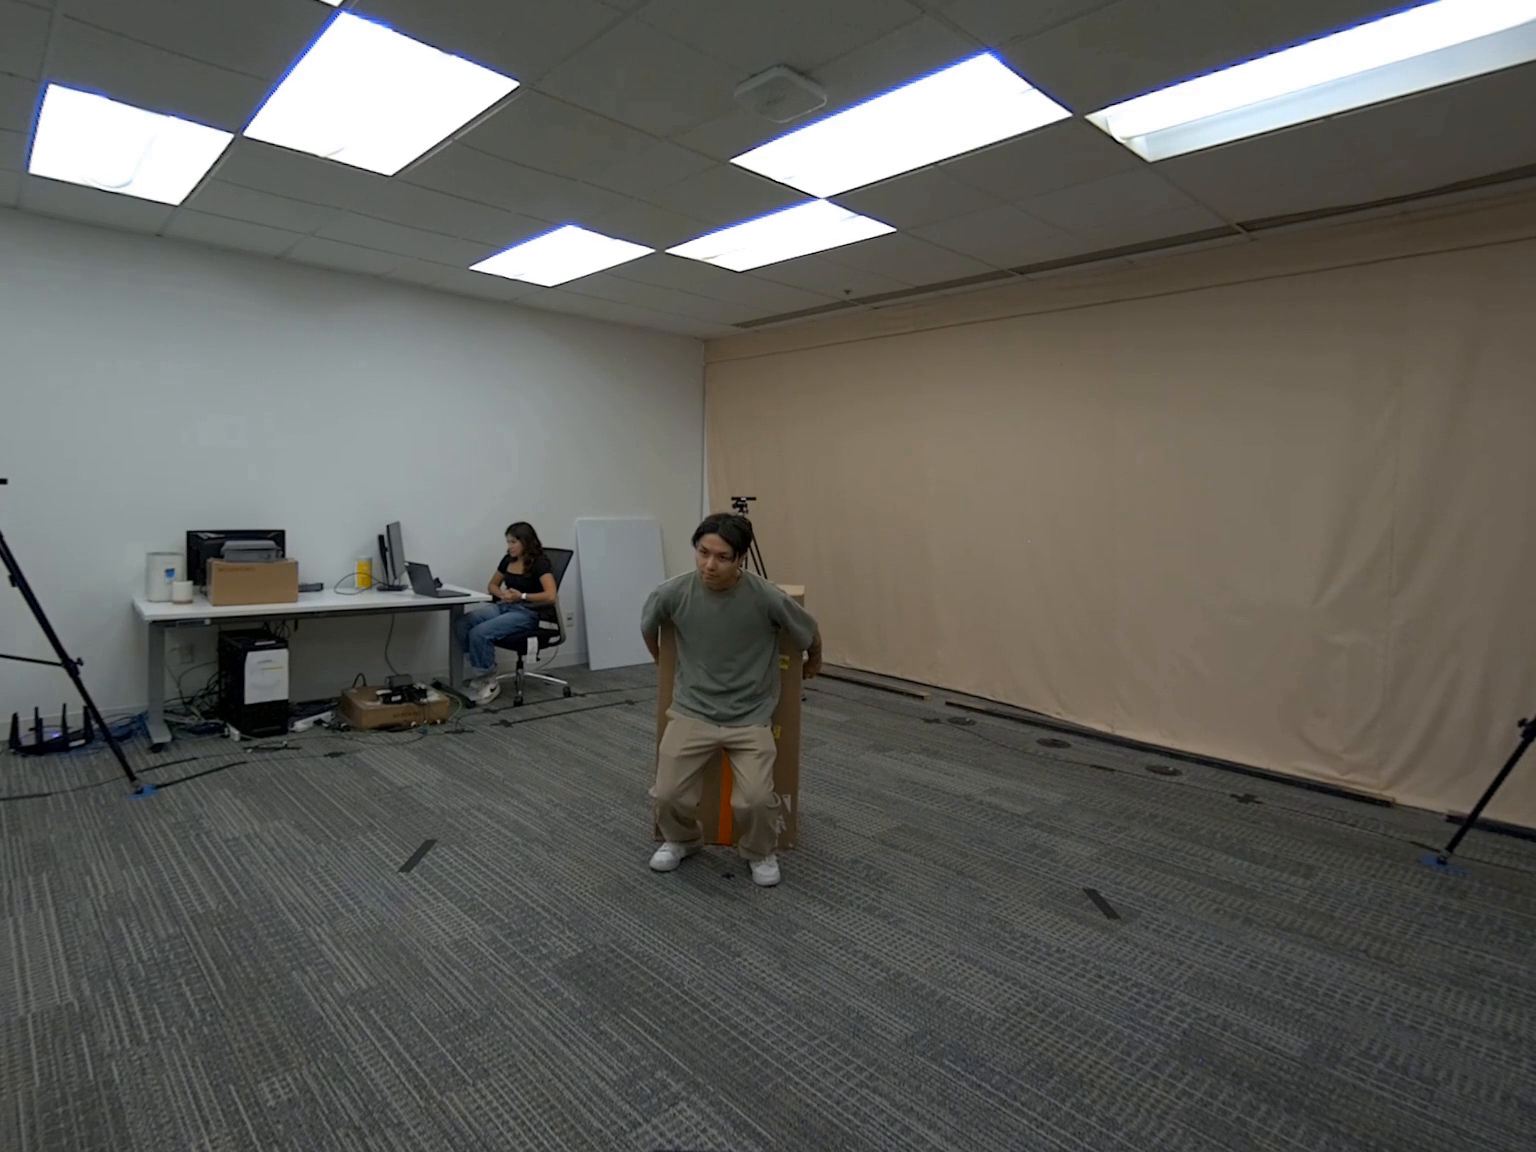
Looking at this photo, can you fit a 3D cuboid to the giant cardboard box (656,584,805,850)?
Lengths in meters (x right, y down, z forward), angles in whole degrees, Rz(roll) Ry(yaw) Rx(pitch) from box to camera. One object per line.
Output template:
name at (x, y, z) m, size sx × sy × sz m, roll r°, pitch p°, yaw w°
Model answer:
giant cardboard box at (-0.155, 0.558, 3.572) m, size 0.580 × 1.024 × 0.425 m, roll 2°, pitch 2°, yaw 5°
